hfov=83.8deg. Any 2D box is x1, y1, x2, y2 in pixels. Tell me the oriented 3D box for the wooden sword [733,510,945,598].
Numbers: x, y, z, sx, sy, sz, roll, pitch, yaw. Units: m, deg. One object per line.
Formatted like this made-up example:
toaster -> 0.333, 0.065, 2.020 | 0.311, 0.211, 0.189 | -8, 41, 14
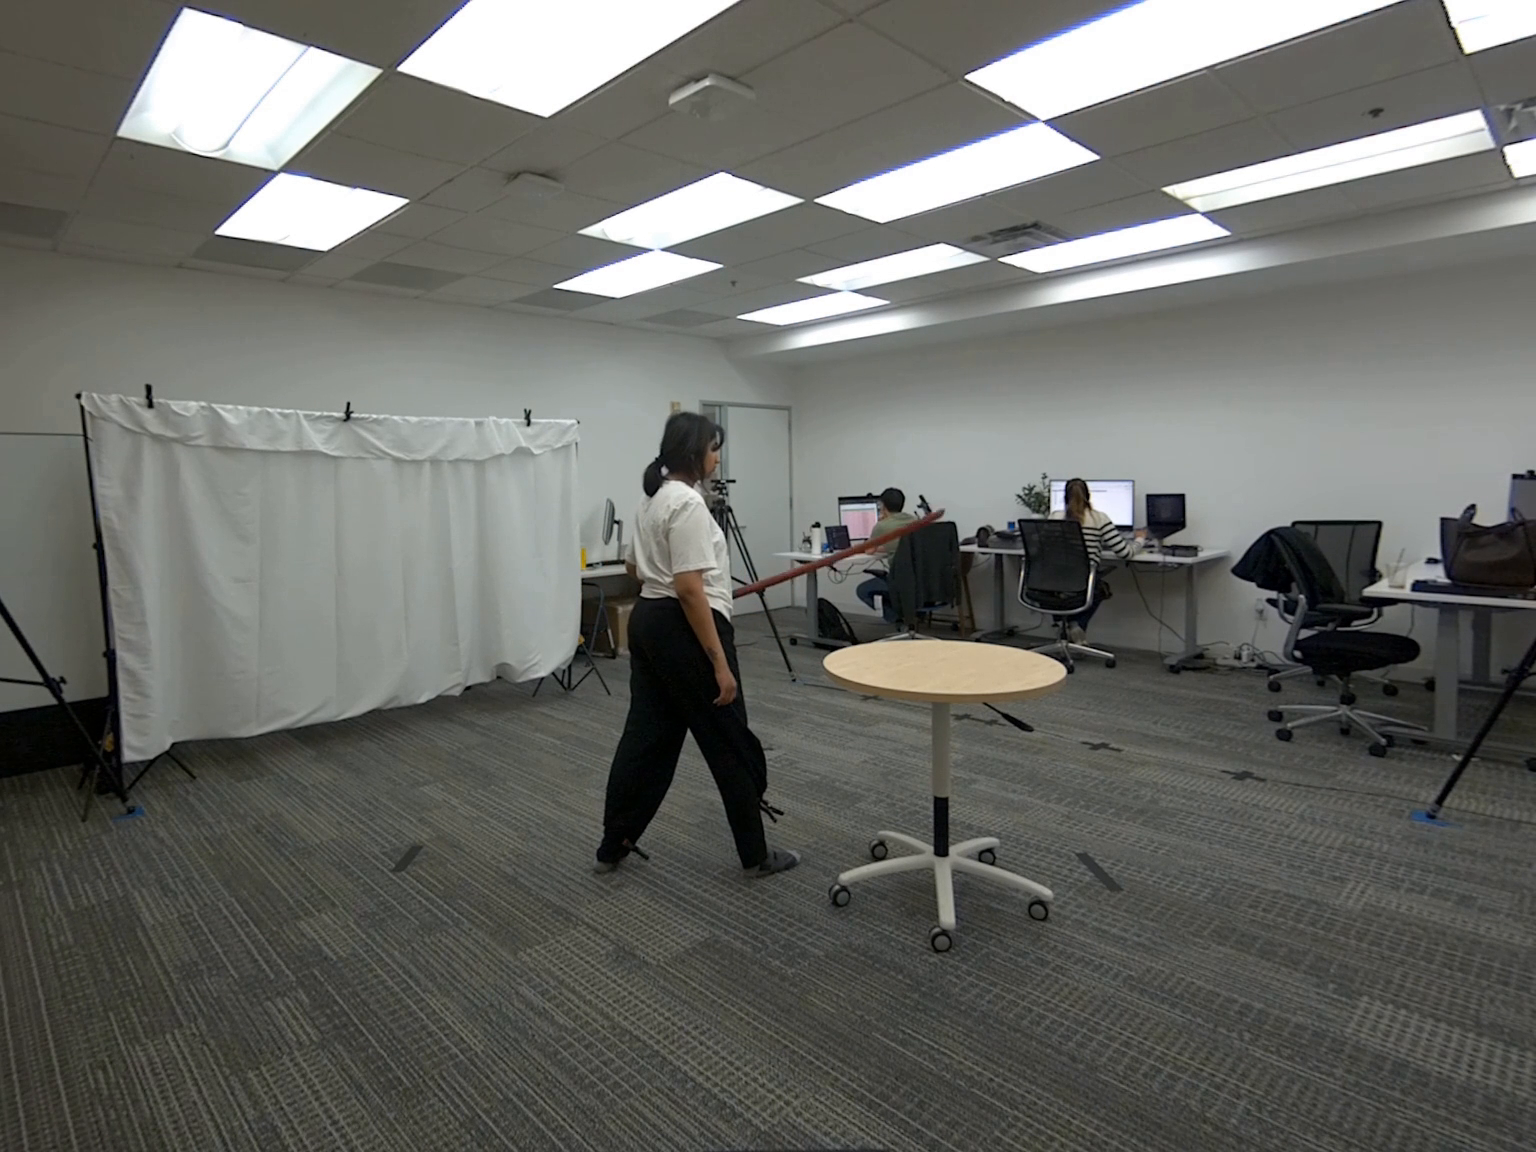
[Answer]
wooden sword -> 0.201, -0.038, 3.245 | 1.023, 0.023, 0.052 | -24, 20, -2
